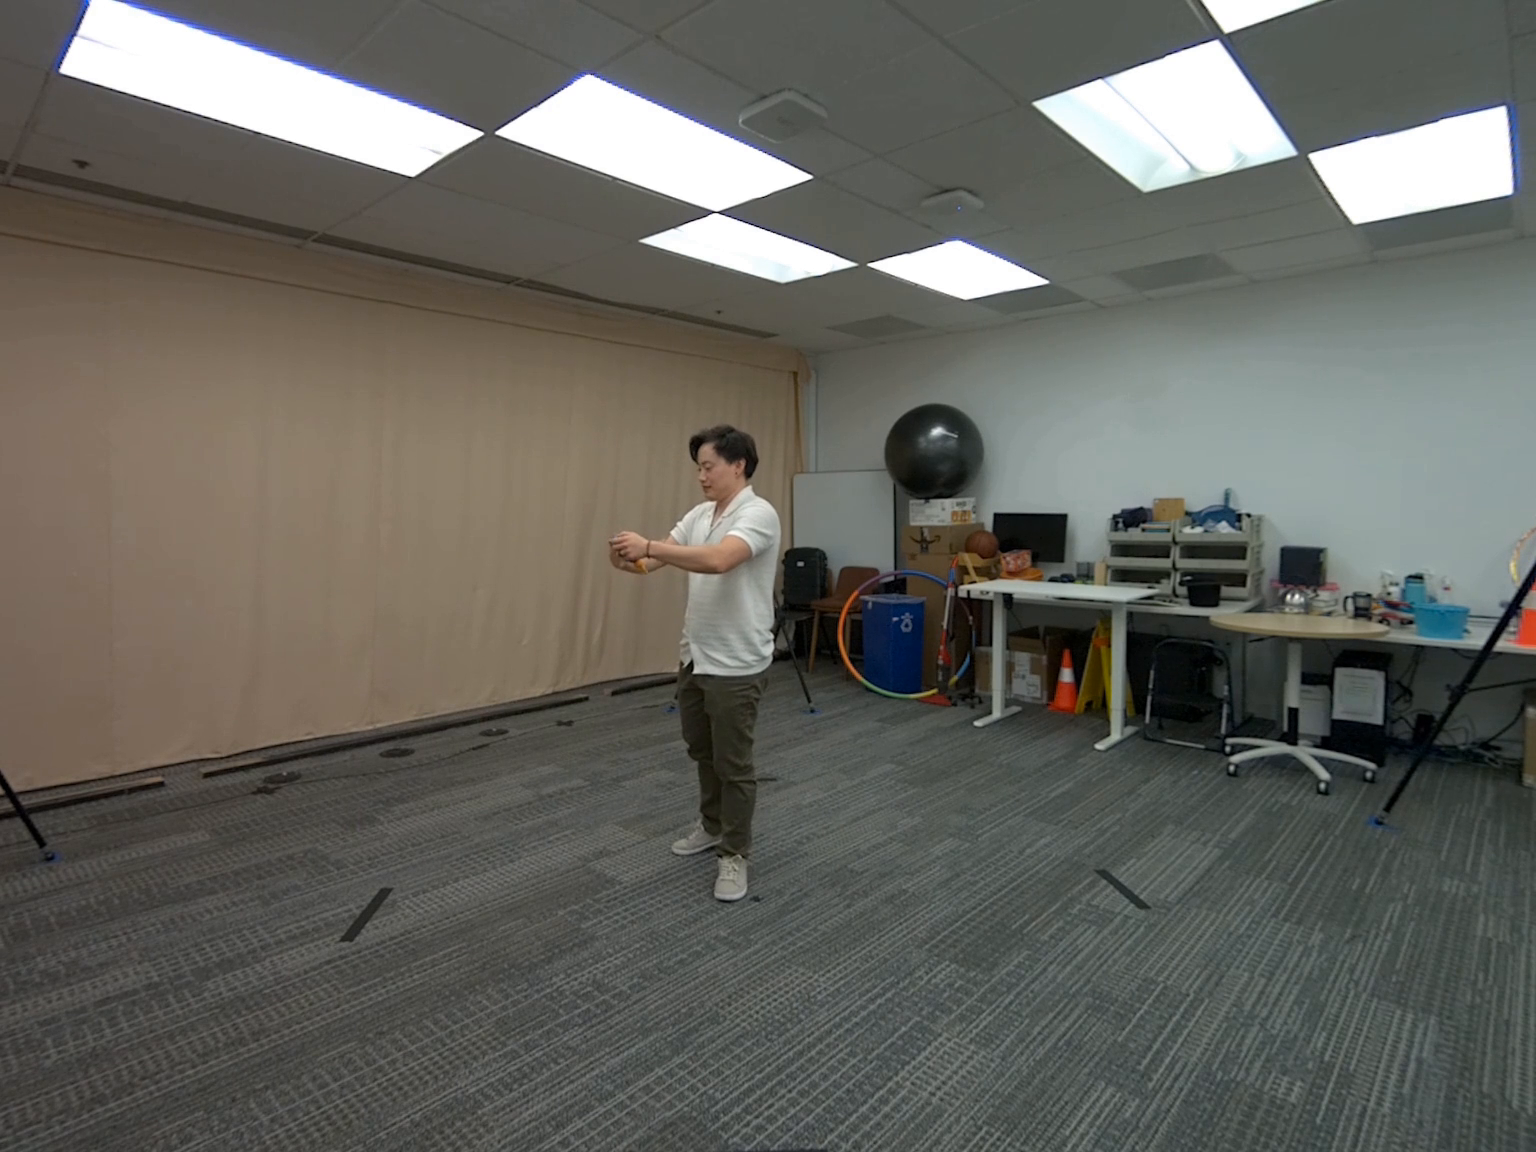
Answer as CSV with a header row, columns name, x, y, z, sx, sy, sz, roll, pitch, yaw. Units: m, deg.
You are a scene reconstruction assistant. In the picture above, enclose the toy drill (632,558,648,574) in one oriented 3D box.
name,x,y,z,sx,sy,sz,roll,pitch,yaw
toy drill,-0.439,-0.067,2.856,0.169,0.061,0.147,44,-6,-7
